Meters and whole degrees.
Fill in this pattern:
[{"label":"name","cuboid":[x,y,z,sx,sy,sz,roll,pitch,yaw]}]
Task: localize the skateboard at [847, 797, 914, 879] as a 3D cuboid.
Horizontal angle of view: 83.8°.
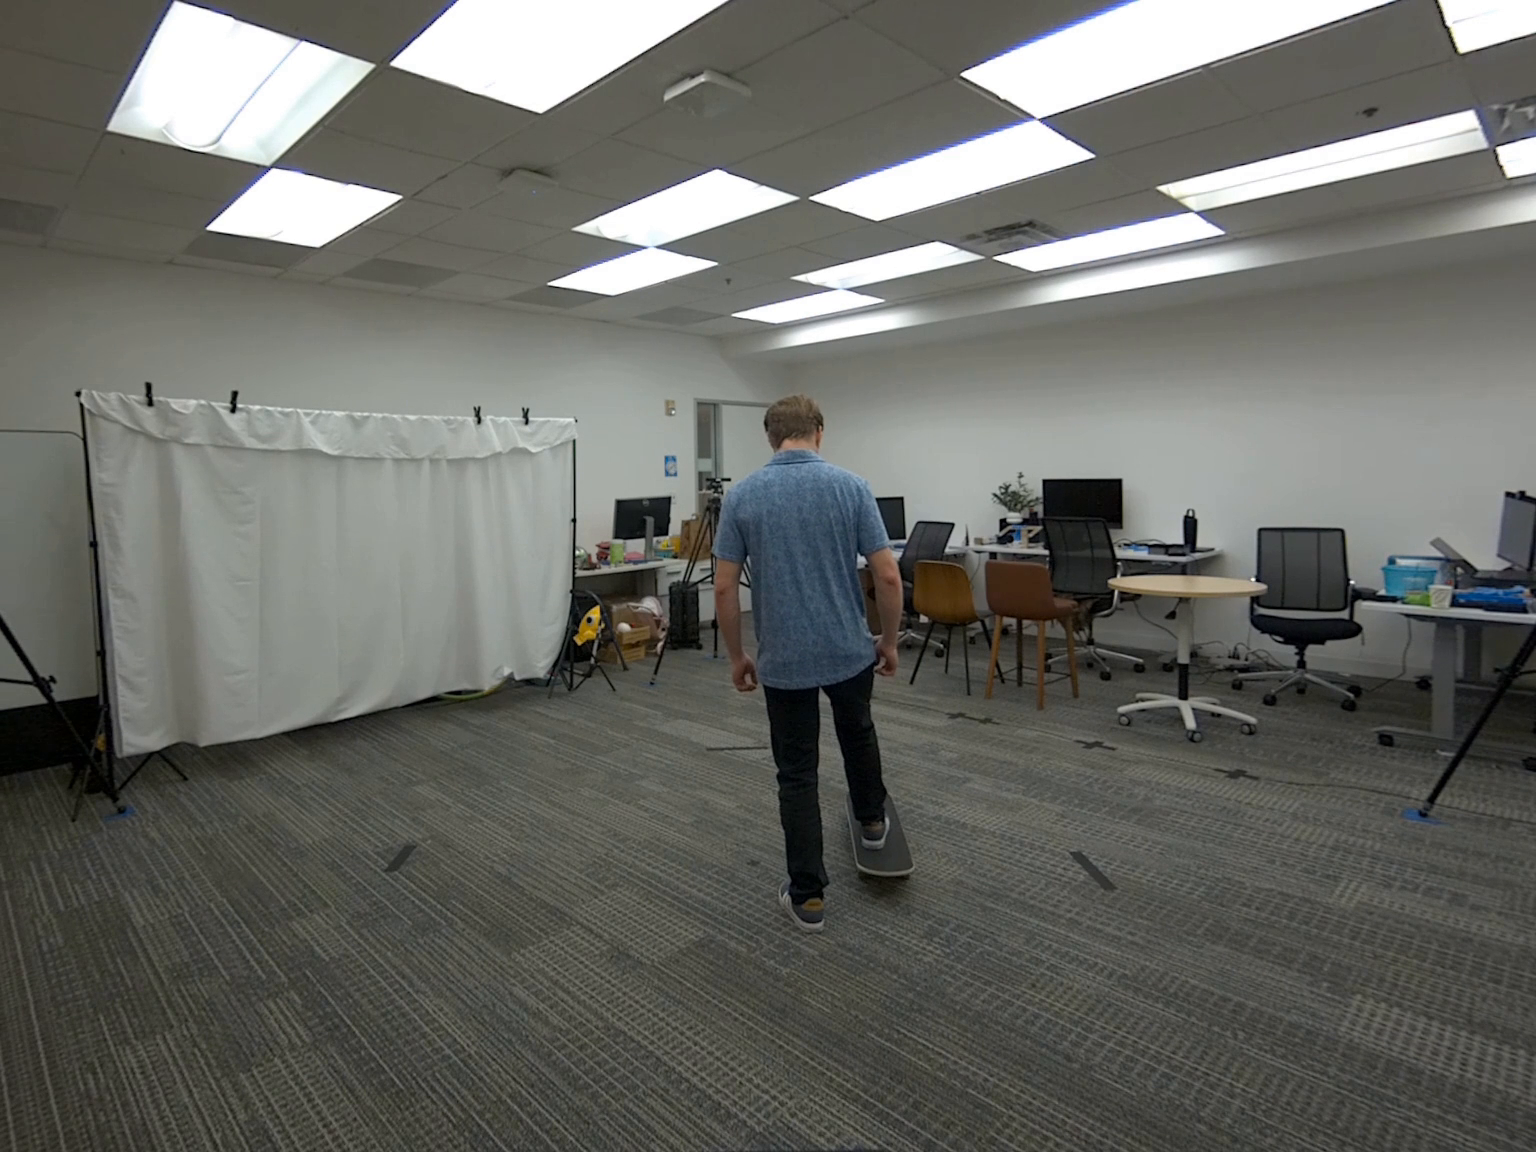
[{"label":"skateboard","cuboid":[0.403,0.968,3.174,0.194,0.110,0.787,-3,7,1]}]
